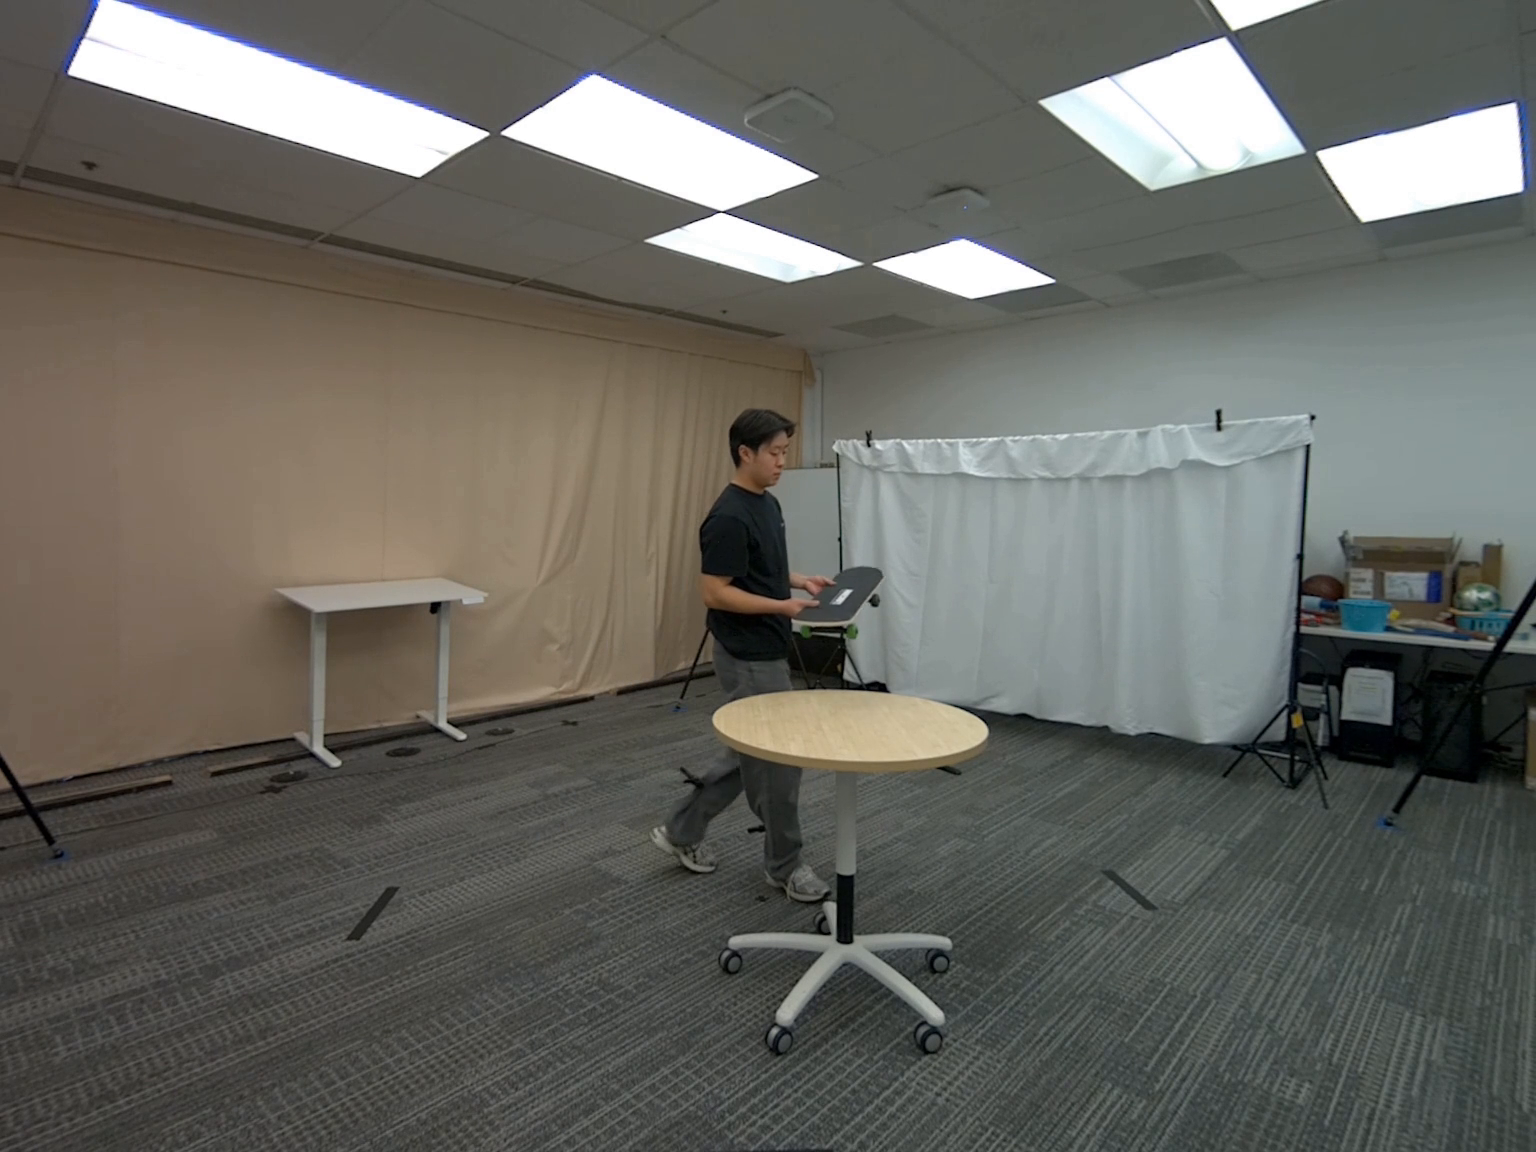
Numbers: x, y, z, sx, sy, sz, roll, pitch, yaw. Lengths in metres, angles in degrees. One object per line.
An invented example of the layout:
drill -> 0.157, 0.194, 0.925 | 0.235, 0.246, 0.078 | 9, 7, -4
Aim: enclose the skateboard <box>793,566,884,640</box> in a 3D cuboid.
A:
skateboard -> 0.263, 0.105, 2.949 | 0.198, 0.109, 0.774 | -1, 12, 20
